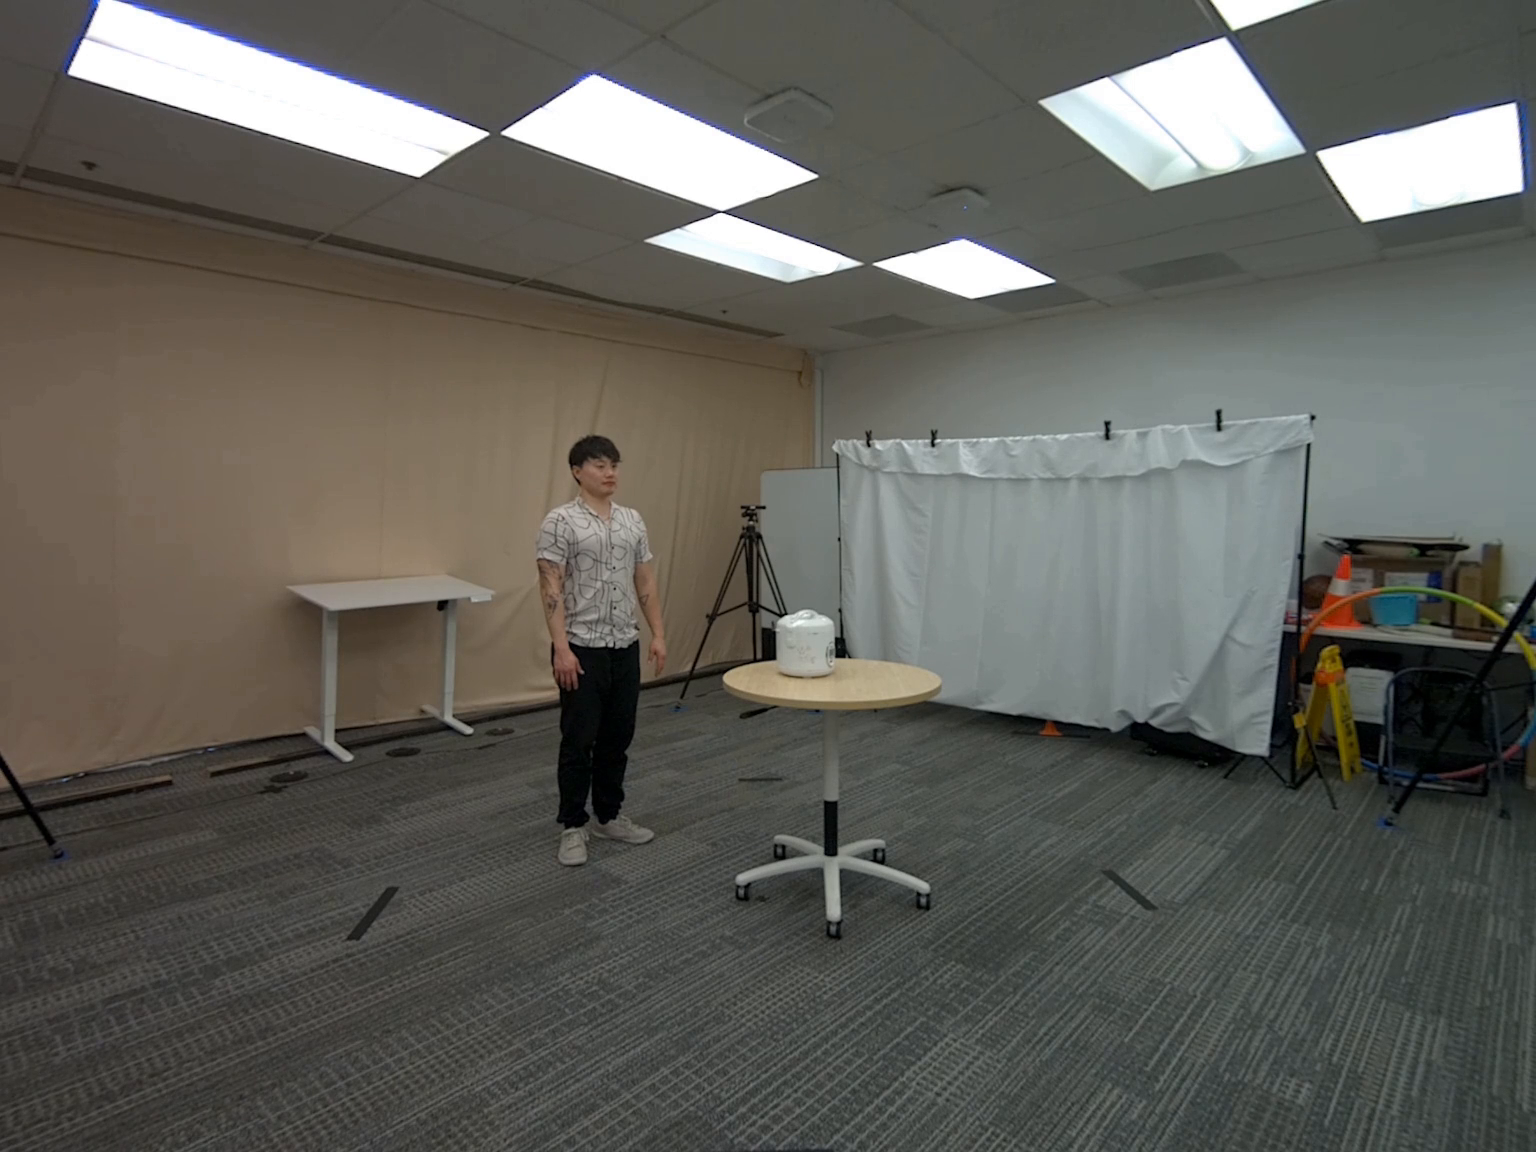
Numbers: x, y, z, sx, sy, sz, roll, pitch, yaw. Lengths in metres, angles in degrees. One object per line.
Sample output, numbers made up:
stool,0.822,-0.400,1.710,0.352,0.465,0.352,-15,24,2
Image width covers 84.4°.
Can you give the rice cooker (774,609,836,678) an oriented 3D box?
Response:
rice cooker,0.141,0.240,3.057,0.224,0.232,0.214,1,3,35
